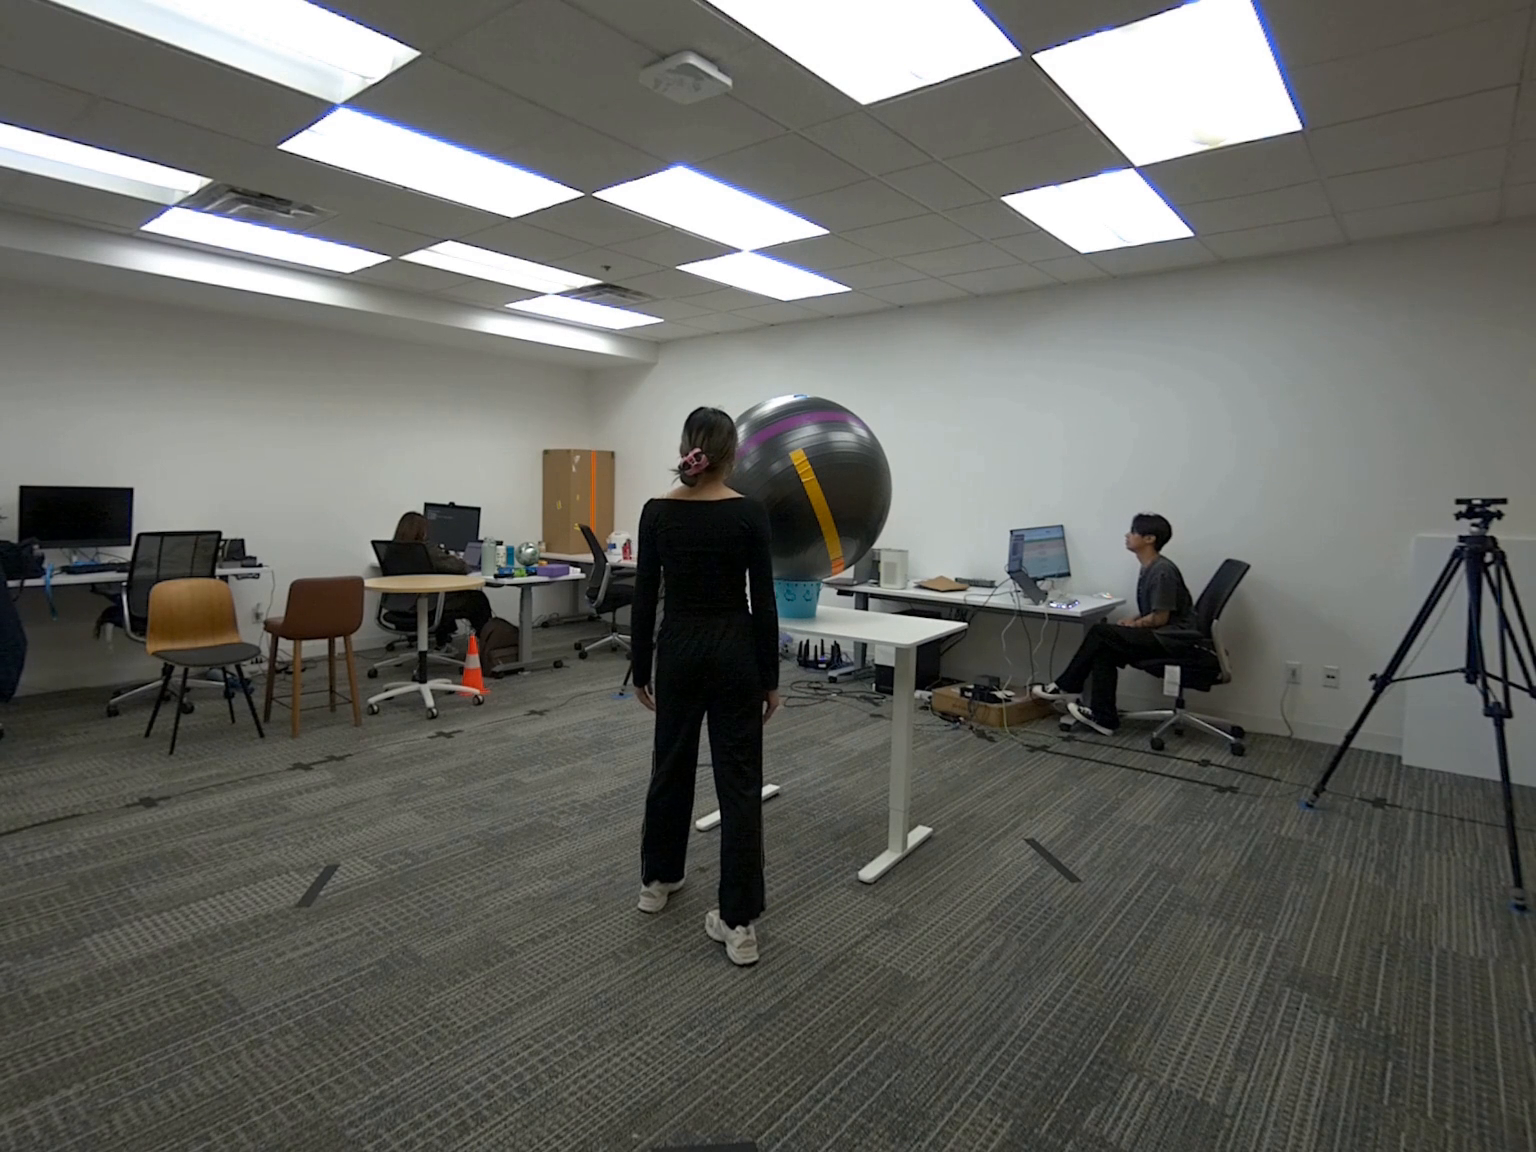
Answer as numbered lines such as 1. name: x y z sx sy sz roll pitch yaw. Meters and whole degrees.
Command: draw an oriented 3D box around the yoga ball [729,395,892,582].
1. yoga ball: 0.107 -0.345 3.446 0.757 0.756 0.761 1 4 -2
